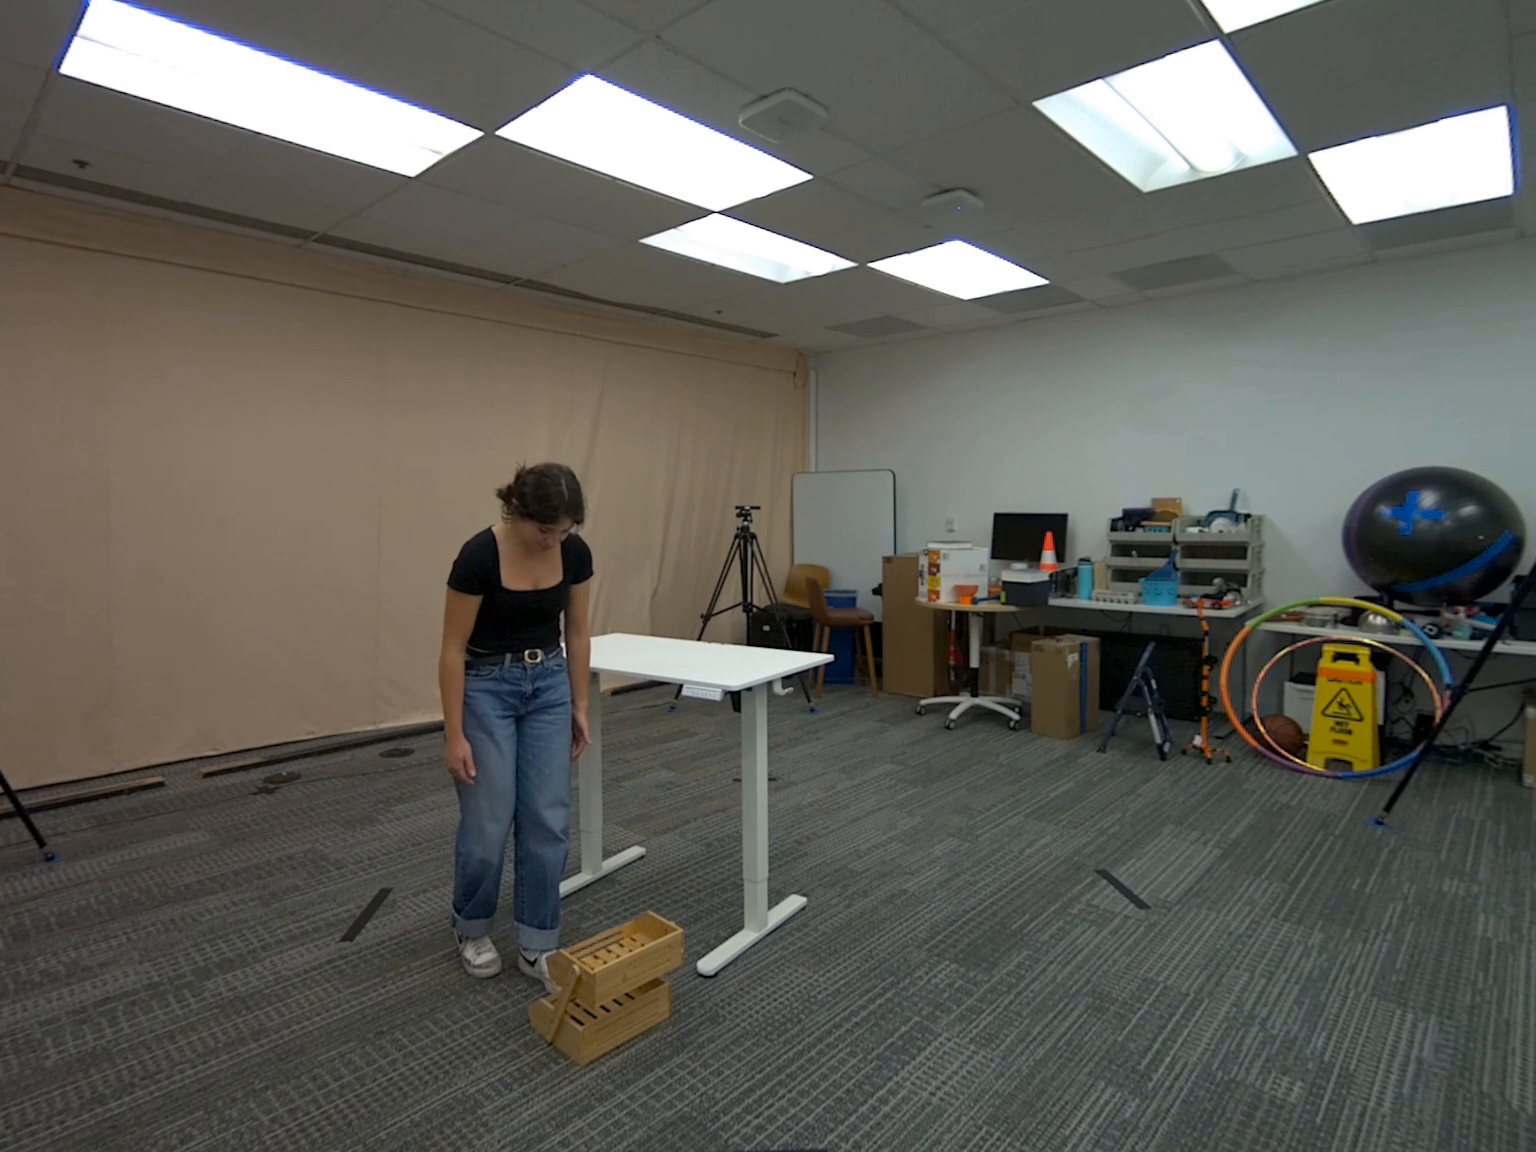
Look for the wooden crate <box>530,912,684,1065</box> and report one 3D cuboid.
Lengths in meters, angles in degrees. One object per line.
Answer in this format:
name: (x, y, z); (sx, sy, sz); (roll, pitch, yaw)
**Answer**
wooden crate: (-0.436, 1.076, 2.254); (0.312, 0.272, 0.314); (5, 6, 44)
